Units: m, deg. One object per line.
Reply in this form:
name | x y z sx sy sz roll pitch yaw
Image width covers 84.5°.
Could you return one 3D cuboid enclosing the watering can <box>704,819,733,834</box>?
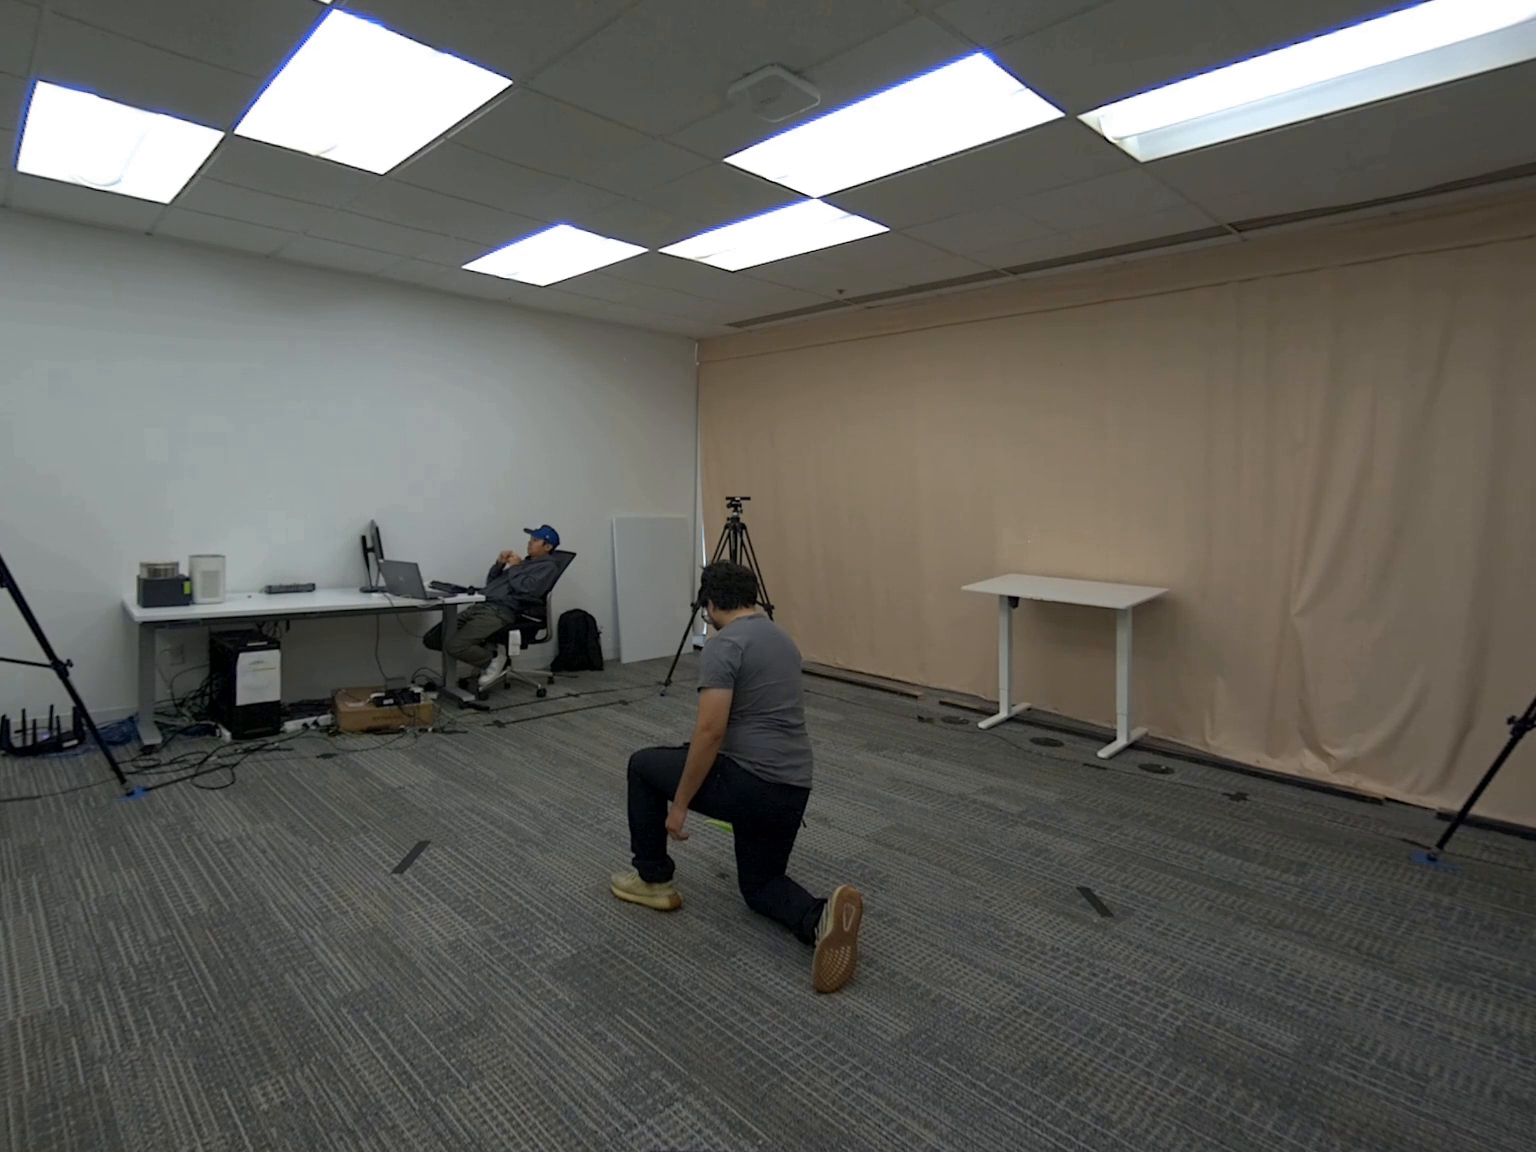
watering can | -0.120 0.925 3.187 0.096 0.276 0.182 -4 41 -43
